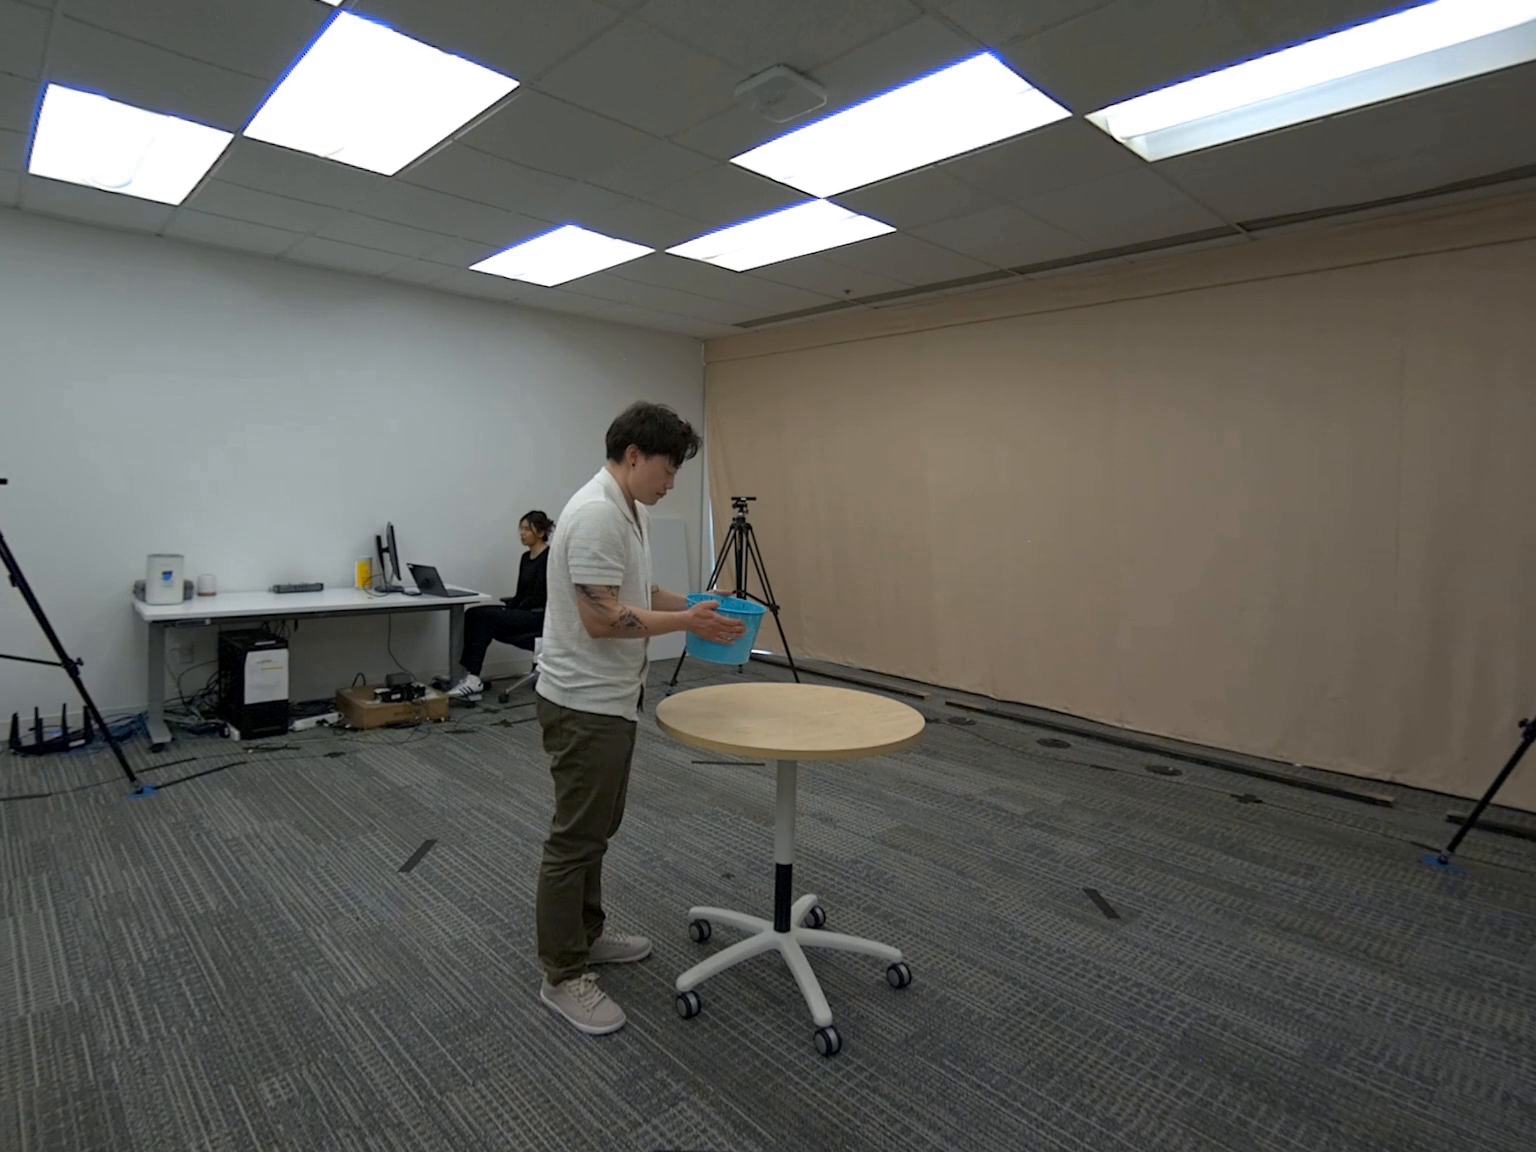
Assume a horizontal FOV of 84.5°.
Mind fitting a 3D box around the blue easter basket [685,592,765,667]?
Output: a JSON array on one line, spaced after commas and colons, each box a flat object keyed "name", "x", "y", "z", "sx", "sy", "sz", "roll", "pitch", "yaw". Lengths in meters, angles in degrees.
[{"name": "blue easter basket", "x": -0.151, "y": 0.154, "z": 2.356, "sx": 0.243, "sy": 0.155, "sz": 0.245, "roll": 8, "pitch": 8, "yaw": -2}]
